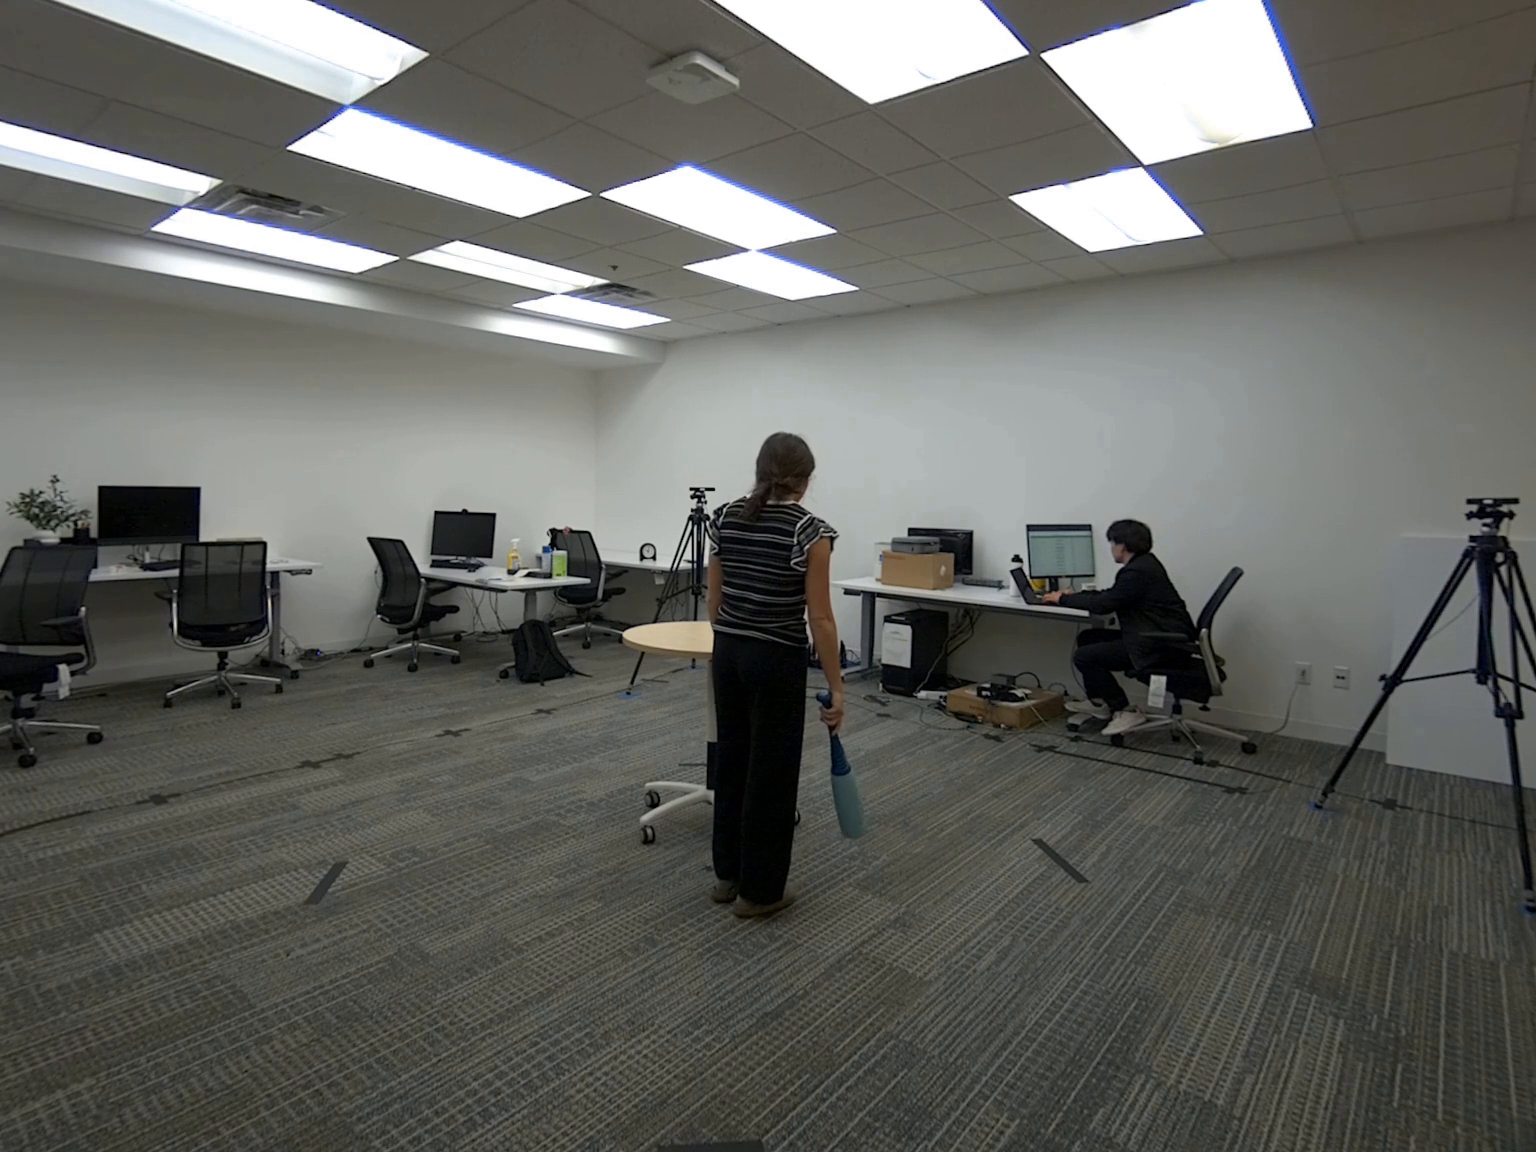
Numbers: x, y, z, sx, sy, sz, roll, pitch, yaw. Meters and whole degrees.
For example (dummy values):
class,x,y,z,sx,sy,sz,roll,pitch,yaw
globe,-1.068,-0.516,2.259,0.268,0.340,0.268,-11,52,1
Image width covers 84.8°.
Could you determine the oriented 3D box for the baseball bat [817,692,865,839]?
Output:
class,x,y,z,sx,sy,sz,roll,pitch,yaw
baseball bat,0.225,0.615,2.765,0.089,0.531,0.091,-12,19,3
